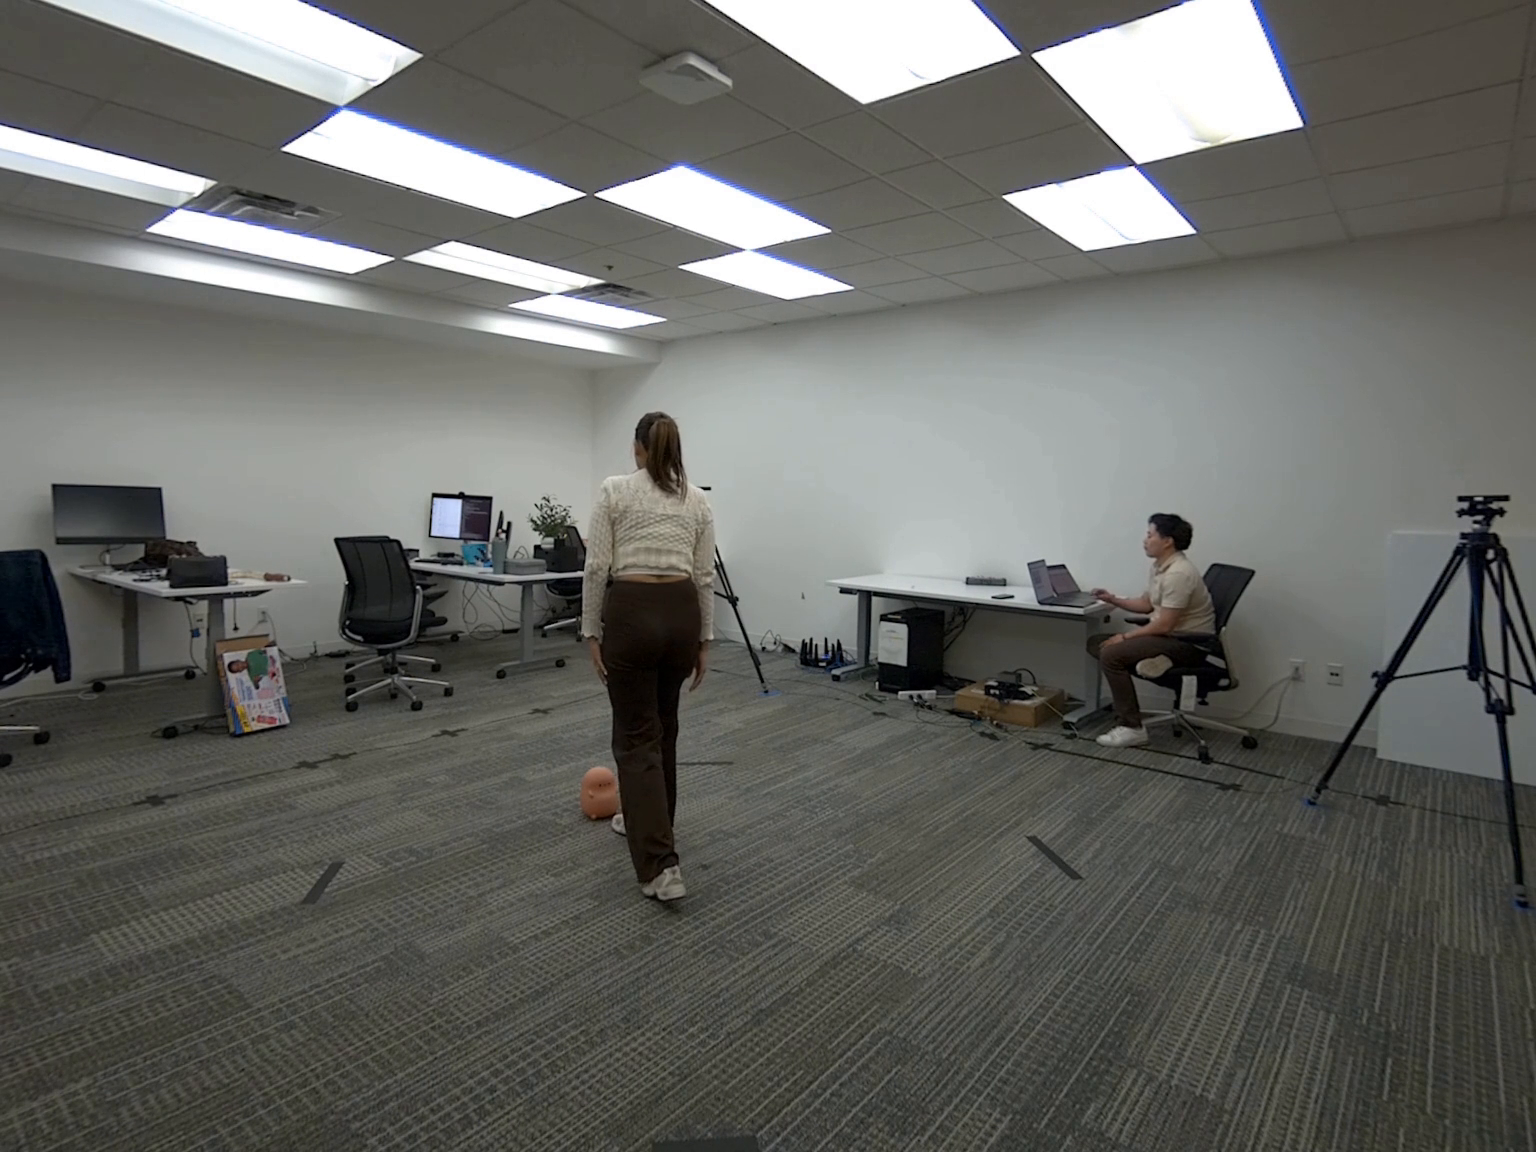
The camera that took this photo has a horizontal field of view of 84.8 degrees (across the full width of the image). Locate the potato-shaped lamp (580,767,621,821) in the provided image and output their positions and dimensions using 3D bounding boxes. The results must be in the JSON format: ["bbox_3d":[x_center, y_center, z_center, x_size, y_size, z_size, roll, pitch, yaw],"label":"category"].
[{"bbox_3d":[-0.724,0.908,3.612,0.160,0.198,0.176,0,1,-28],"label":"potato-shaped lamp"}]
